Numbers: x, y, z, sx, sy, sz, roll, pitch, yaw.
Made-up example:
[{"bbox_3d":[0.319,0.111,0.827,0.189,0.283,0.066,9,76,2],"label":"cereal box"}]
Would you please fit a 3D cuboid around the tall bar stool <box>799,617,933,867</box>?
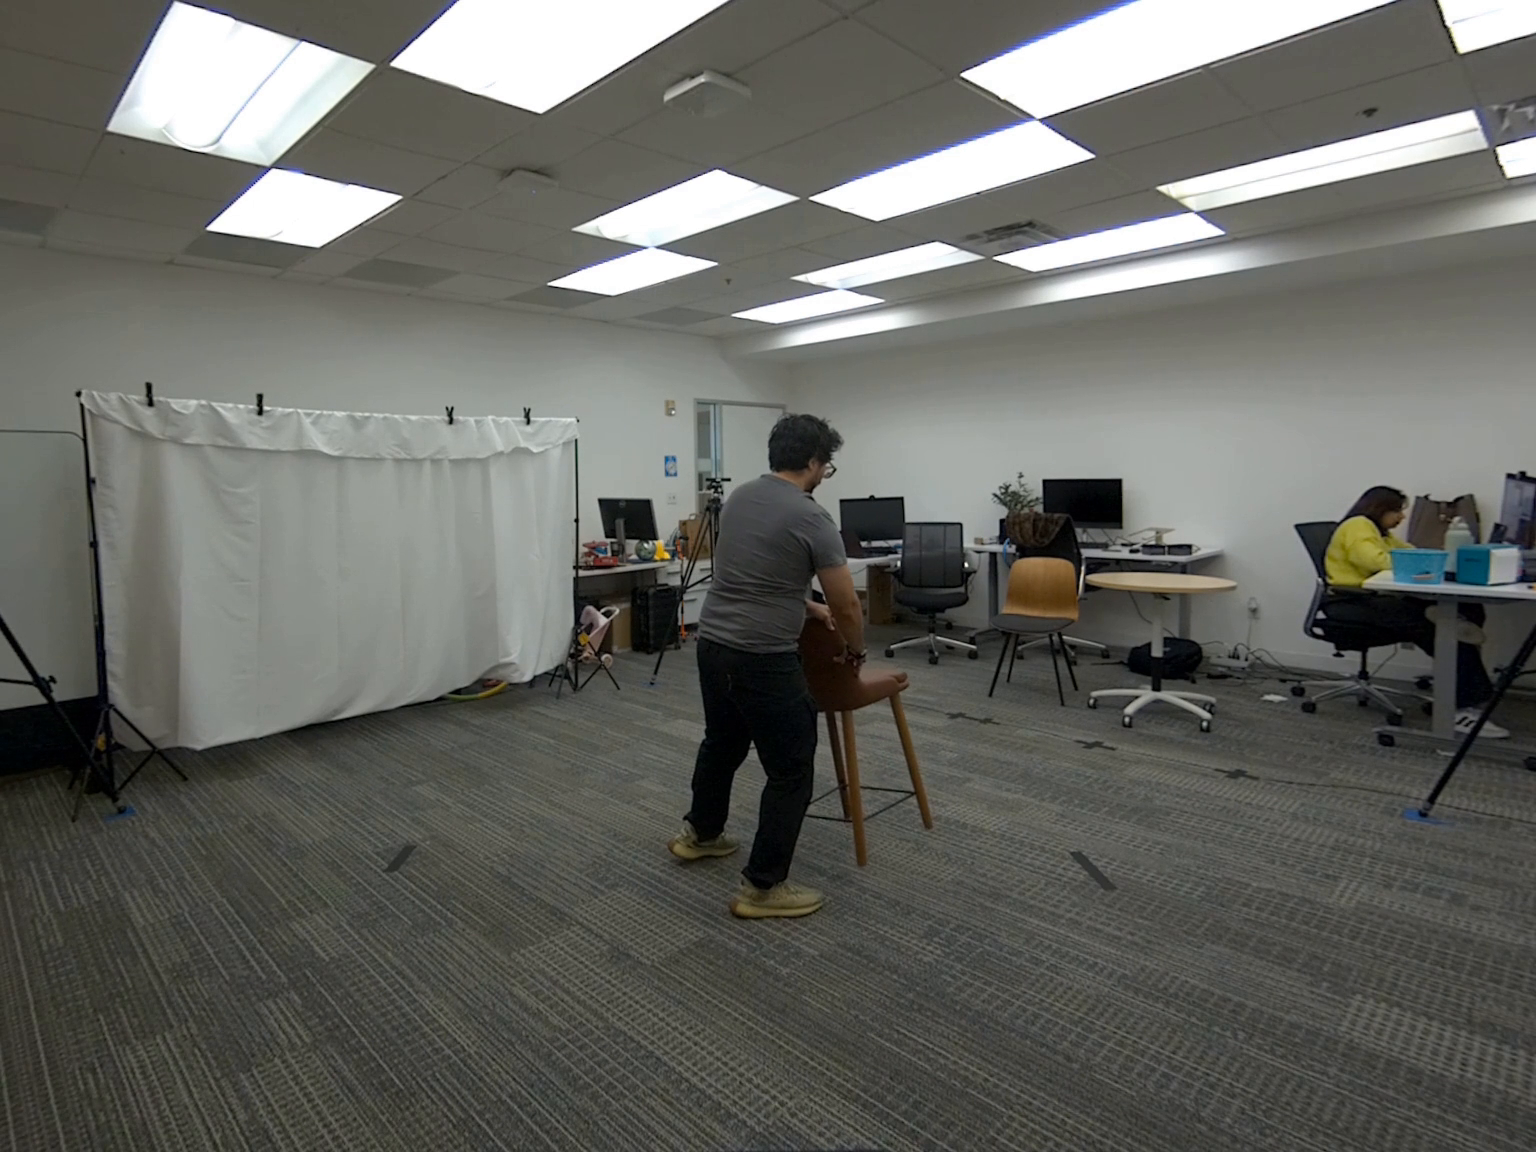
[{"bbox_3d":[0.268,0.564,3.229,0.467,0.890,0.456,-9,0,43],"label":"tall bar stool"}]
